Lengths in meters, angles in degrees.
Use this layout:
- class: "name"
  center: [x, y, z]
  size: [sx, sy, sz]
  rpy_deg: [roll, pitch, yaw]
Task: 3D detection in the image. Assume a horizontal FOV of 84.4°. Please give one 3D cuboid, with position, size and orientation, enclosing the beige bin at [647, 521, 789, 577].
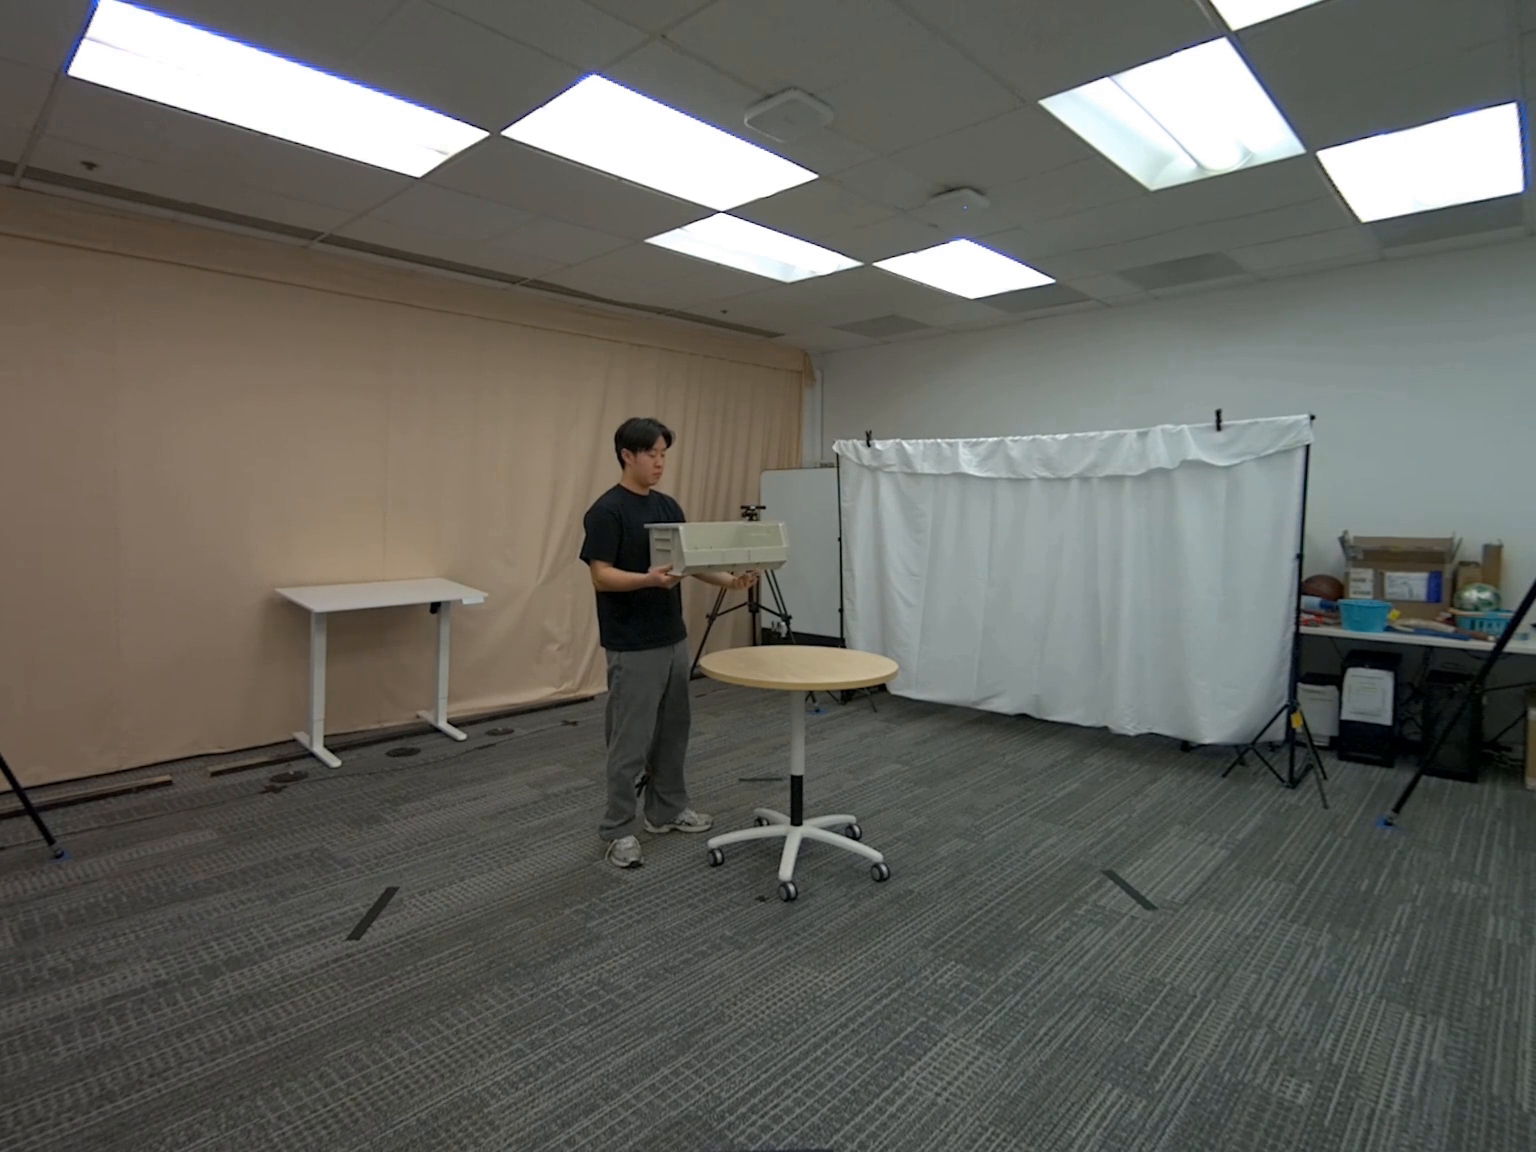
- class: "beige bin"
  center: [-0.188, -0.100, 3.143]
  size: [0.412, 0.189, 0.387]
  rpy_deg: [-4, 4, -27]
